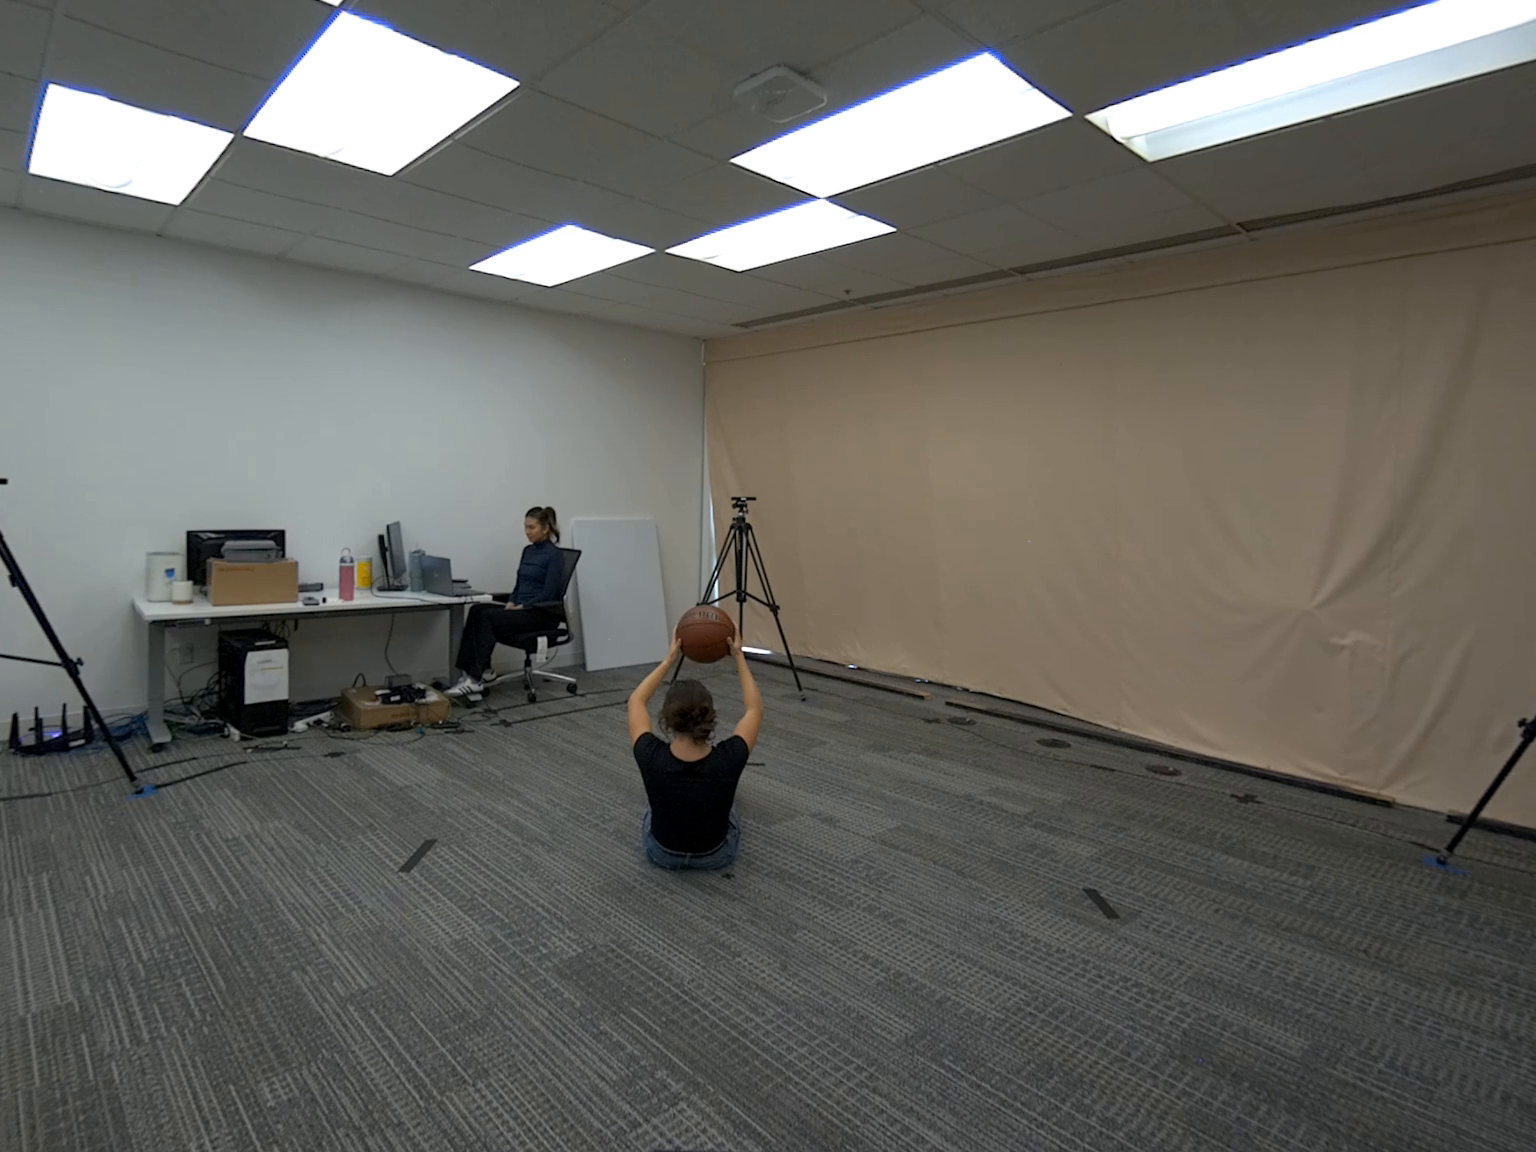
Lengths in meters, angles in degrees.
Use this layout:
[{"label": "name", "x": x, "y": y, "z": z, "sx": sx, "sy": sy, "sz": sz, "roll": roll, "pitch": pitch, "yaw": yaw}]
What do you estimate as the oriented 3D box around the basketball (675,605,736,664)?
[{"label": "basketball", "x": -0.258, "y": 0.242, "z": 3.413, "sx": 0.236, "sy": 0.235, "sz": 0.237, "roll": 1, "pitch": 4, "yaw": -1}]
